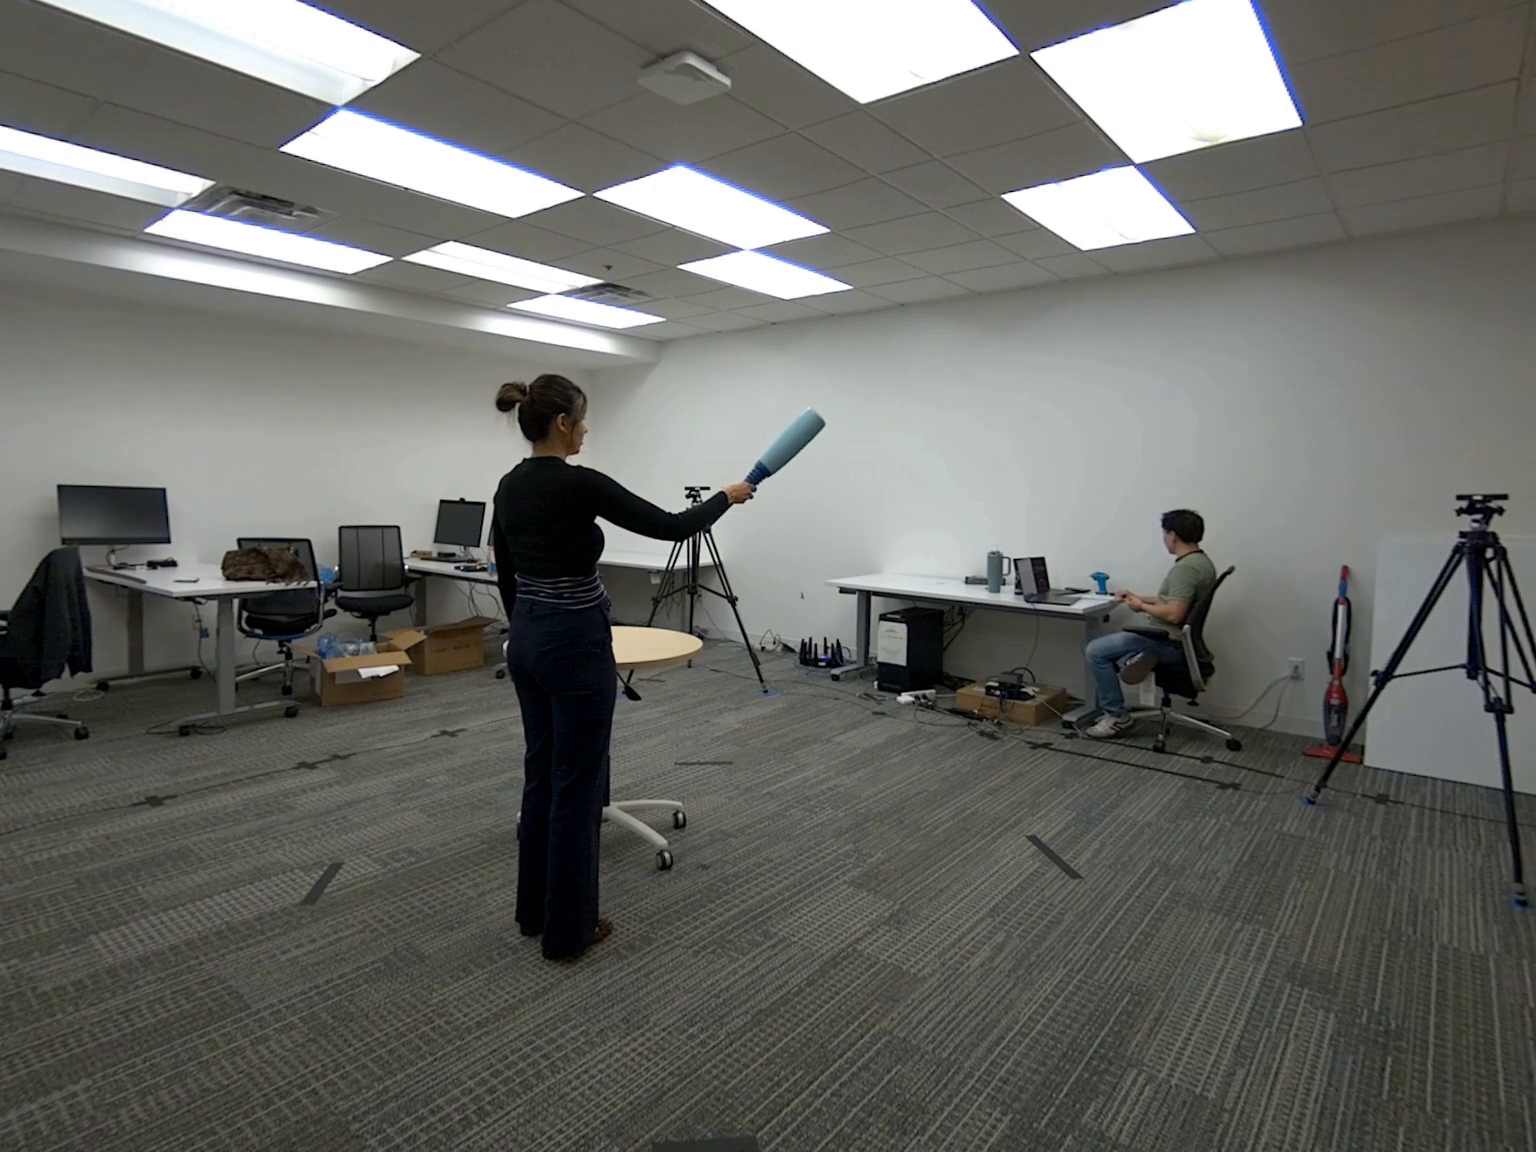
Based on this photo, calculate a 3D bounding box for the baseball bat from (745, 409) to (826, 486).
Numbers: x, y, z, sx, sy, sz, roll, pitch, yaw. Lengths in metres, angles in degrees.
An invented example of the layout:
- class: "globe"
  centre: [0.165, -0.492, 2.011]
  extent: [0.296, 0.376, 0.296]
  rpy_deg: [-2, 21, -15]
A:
- class: "baseball bat"
  centre: [-0.042, -0.351, 2.807]
  extent: [0.089, 0.543, 0.089]
  rpy_deg: [45, -1, -1]
